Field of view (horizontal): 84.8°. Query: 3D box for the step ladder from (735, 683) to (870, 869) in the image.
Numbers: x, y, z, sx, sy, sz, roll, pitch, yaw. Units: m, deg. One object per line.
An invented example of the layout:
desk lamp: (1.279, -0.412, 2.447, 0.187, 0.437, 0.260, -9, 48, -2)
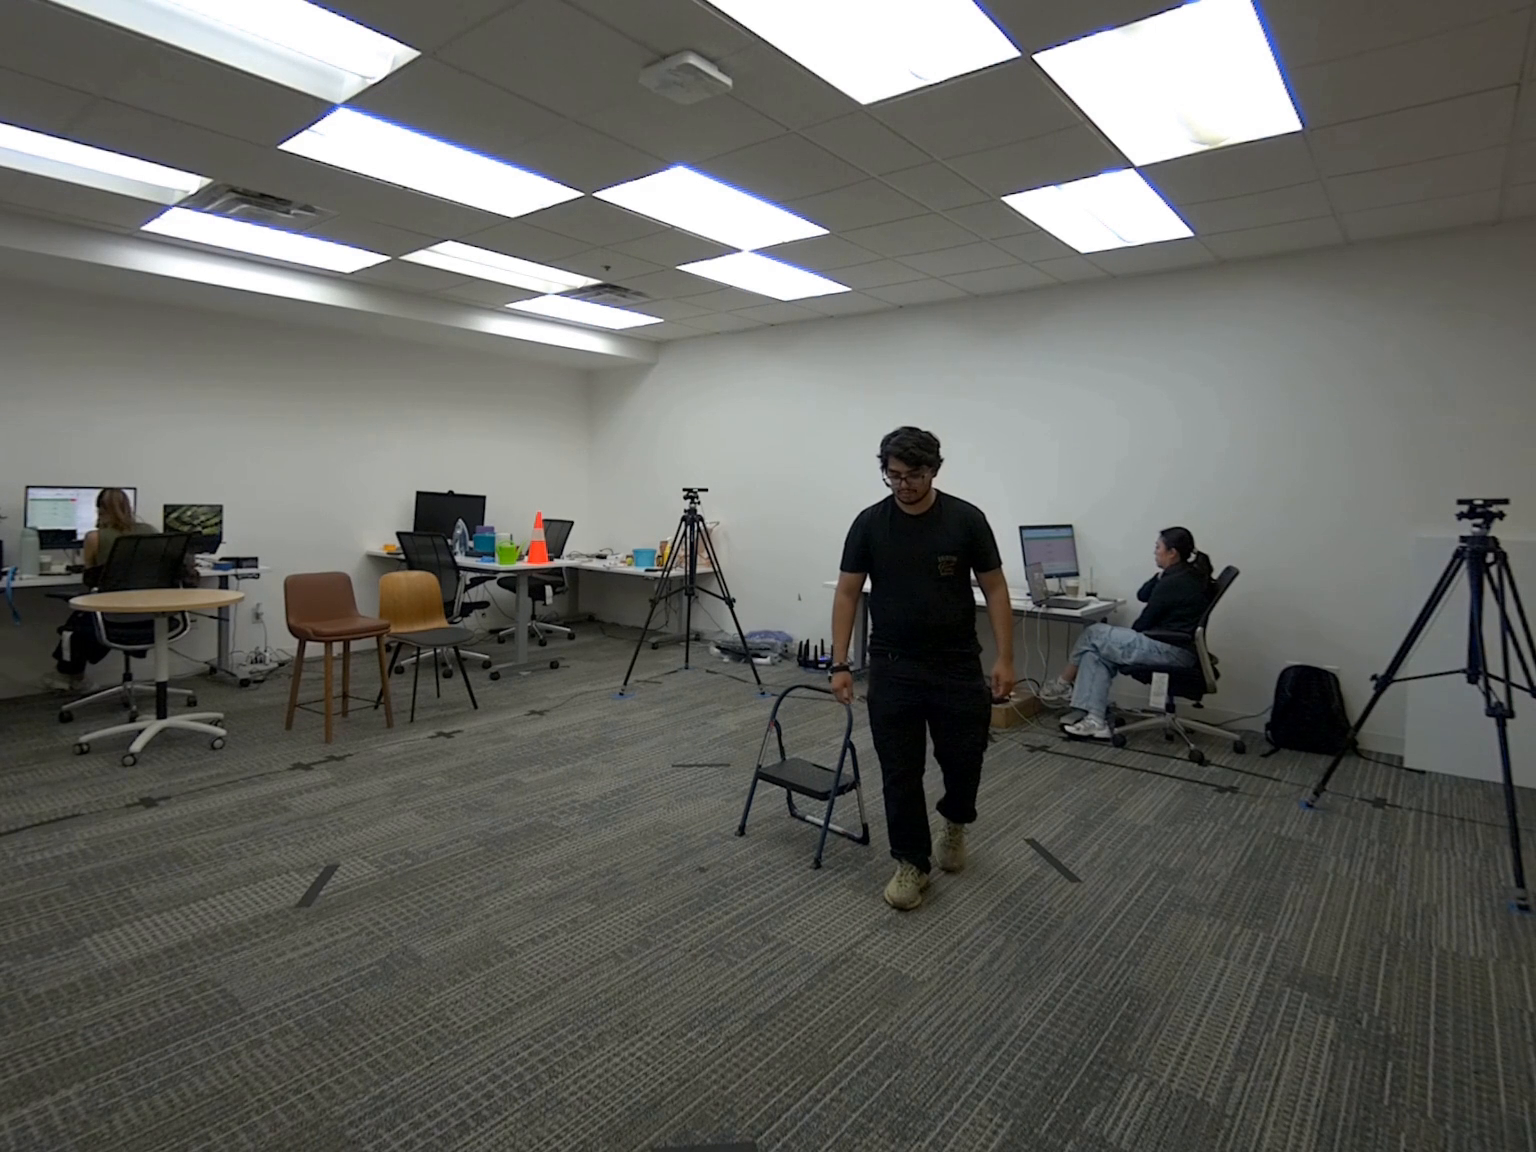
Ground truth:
step ladder: (0.137, 0.747, 3.384, 0.445, 0.604, 0.339, 5, 5, 44)
